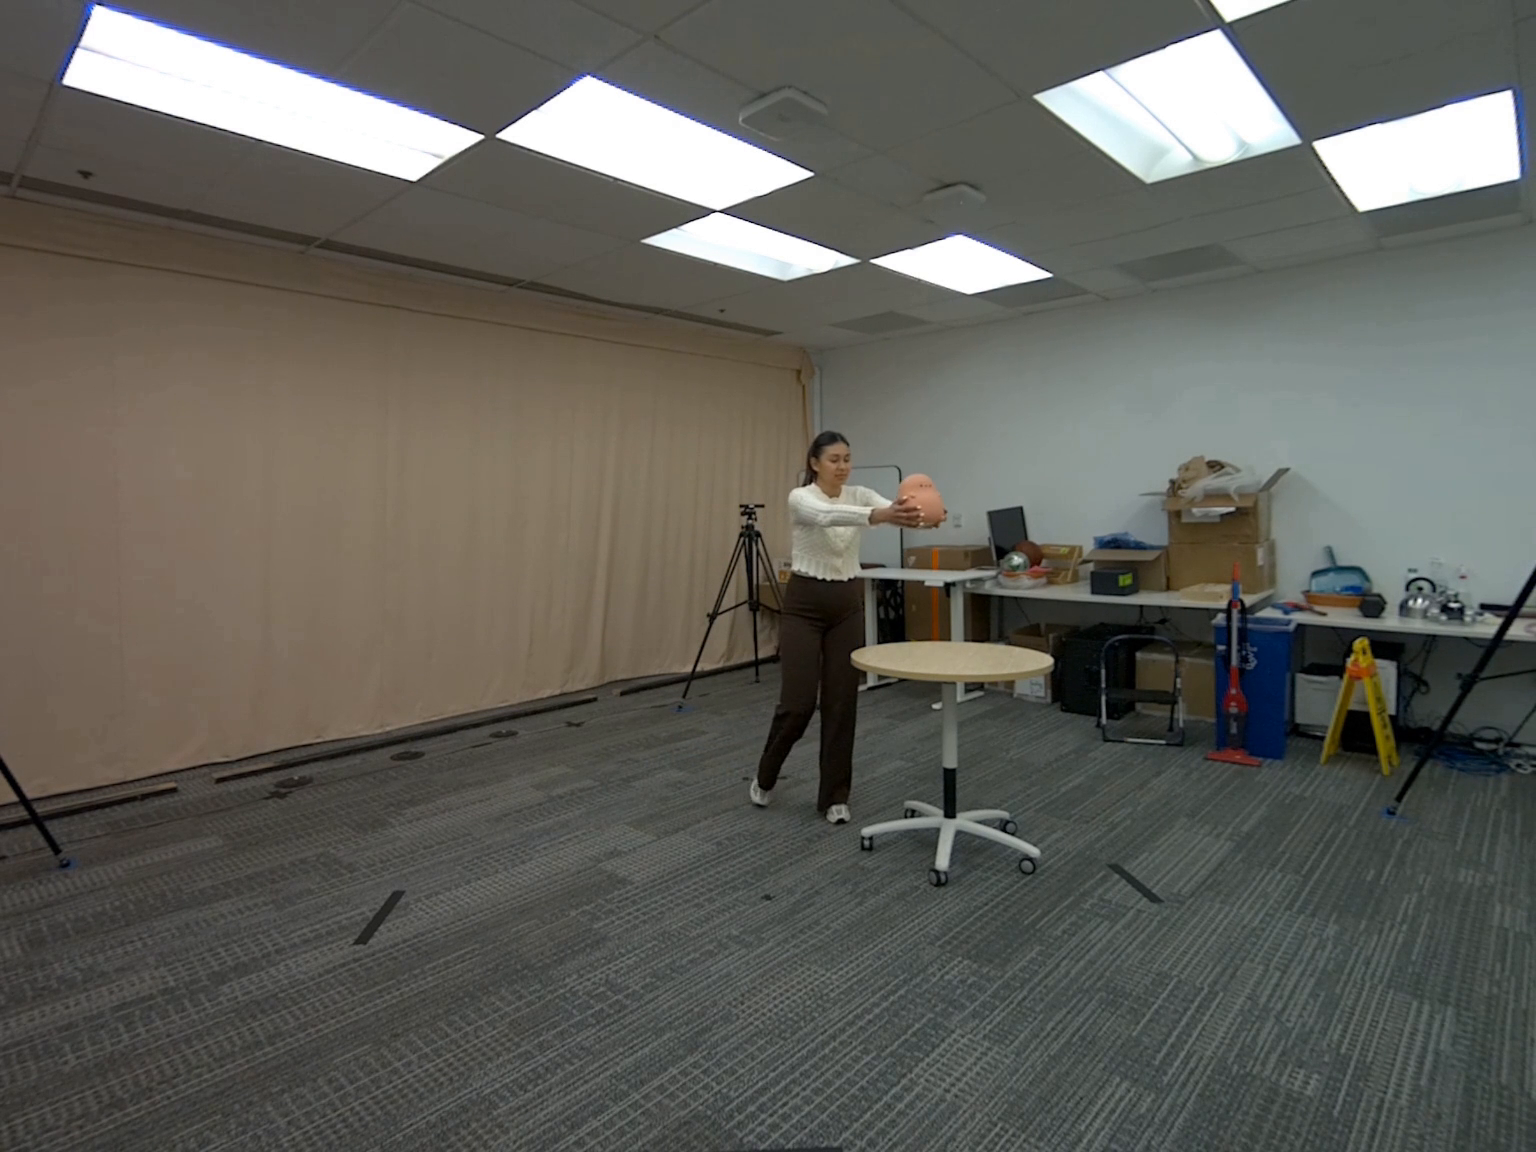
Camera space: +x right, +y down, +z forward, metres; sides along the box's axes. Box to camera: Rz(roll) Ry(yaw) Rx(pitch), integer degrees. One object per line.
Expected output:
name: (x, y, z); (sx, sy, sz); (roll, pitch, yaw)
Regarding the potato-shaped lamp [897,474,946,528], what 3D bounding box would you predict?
potato-shaped lamp: (0.564, -0.279, 3.161); (0.162, 0.199, 0.173); (-4, -7, -16)
